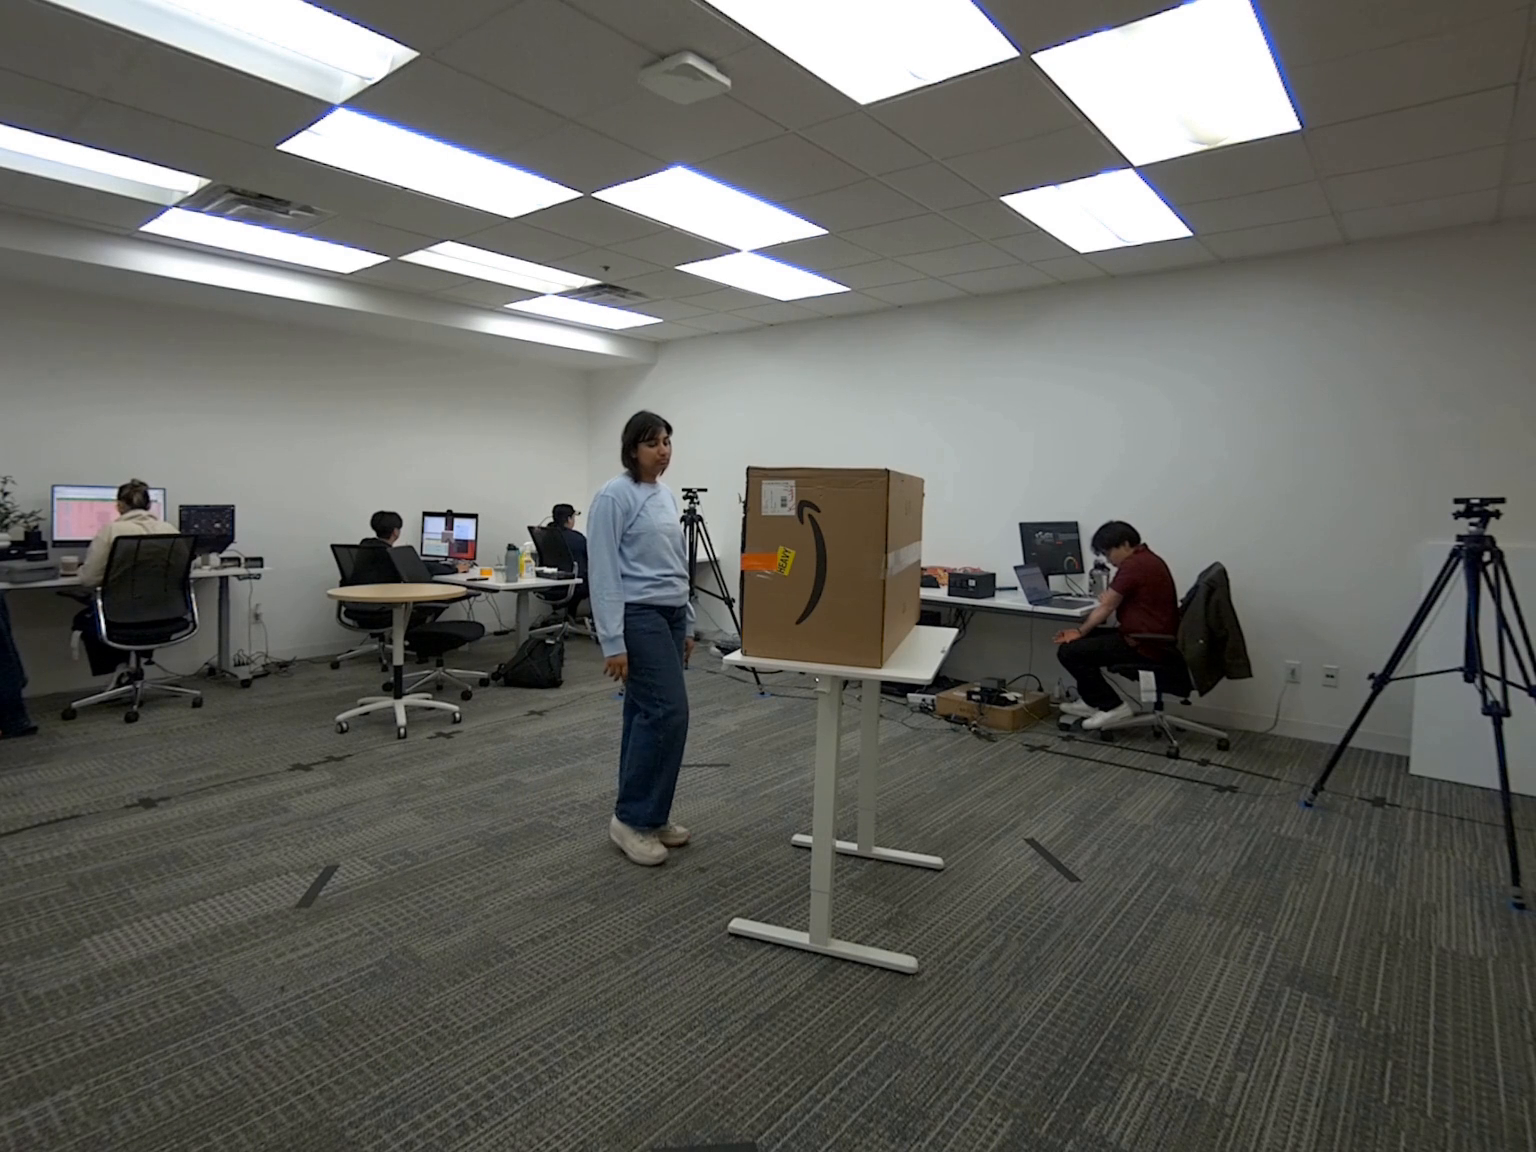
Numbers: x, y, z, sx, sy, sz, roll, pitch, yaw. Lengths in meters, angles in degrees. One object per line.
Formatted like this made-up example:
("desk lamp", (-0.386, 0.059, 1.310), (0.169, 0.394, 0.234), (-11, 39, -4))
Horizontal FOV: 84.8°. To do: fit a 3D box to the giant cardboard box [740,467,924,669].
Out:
("giant cardboard box", (0.260, -0.073, 2.953), (0.435, 0.575, 1.009), (3, 5, 17))
